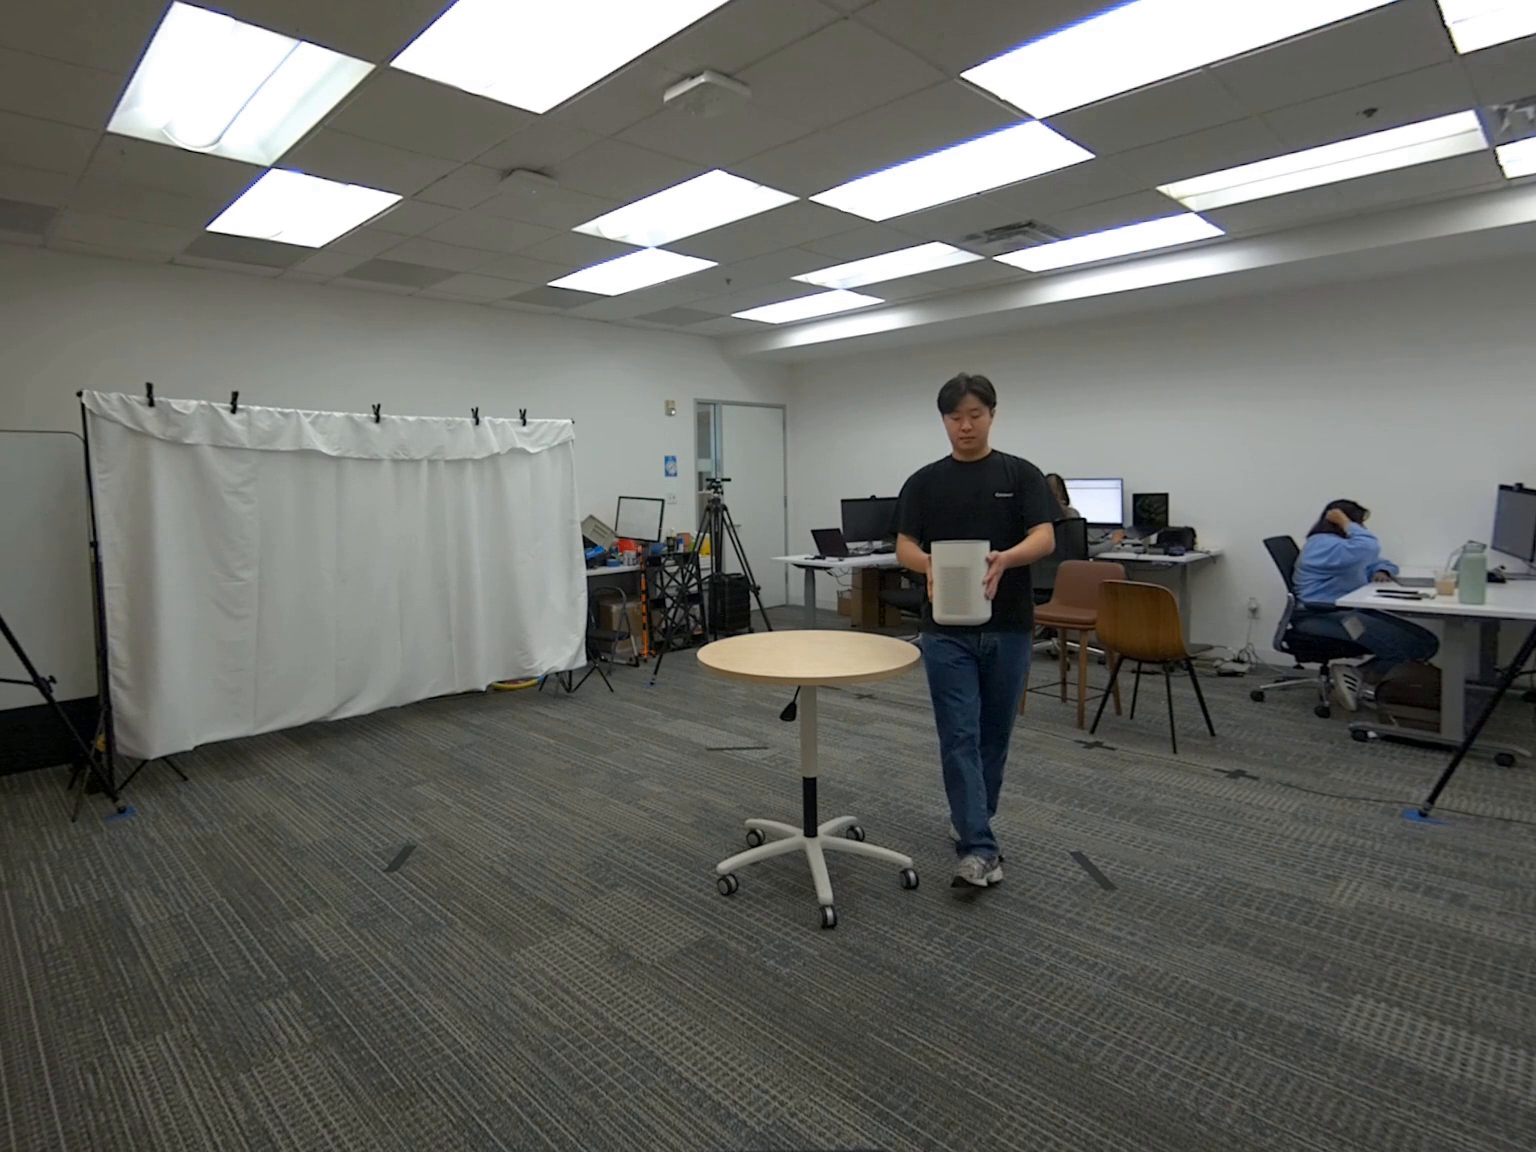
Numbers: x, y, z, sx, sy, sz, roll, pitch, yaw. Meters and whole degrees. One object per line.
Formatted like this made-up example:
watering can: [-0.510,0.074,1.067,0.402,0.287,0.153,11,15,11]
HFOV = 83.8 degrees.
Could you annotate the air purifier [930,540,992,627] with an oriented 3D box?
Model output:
air purifier: [0.611,0.023,2.766,0.175,0.265,0.167,0,3,25]
